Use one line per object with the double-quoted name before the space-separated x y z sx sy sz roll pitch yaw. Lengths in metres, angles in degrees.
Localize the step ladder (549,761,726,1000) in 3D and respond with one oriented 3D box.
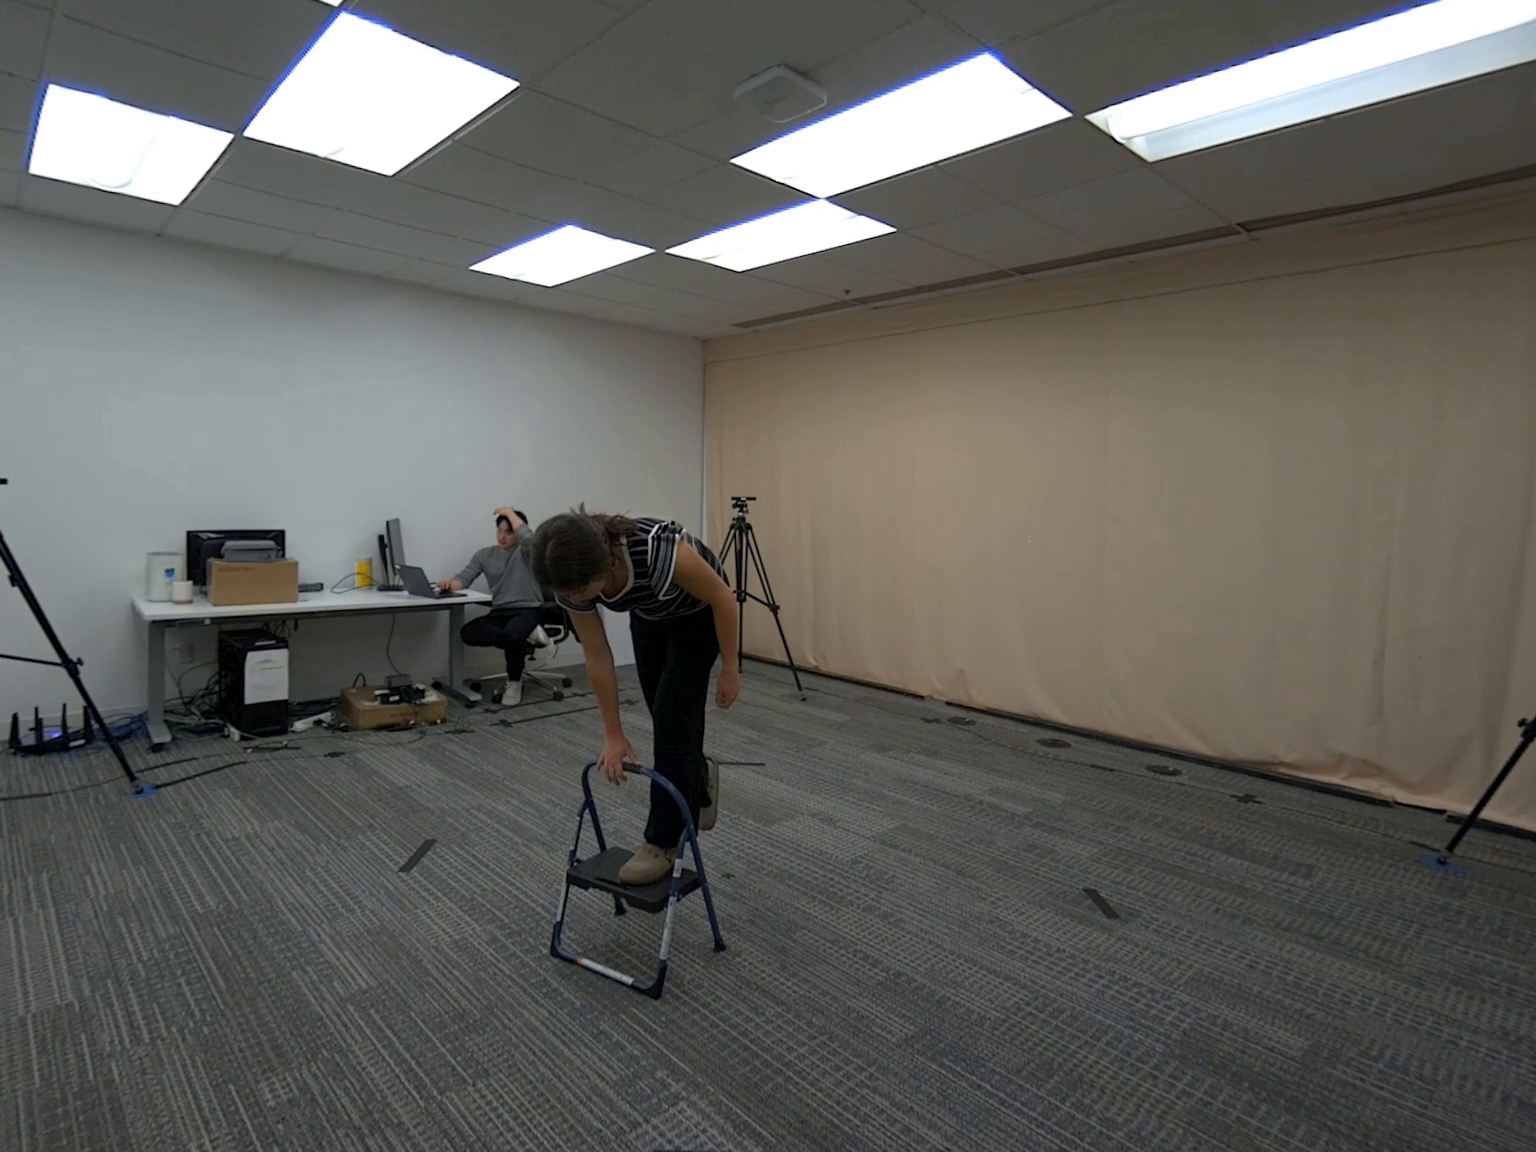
"step ladder" -0.400 0.852 2.560 0.440 0.605 0.342 3 4 31
